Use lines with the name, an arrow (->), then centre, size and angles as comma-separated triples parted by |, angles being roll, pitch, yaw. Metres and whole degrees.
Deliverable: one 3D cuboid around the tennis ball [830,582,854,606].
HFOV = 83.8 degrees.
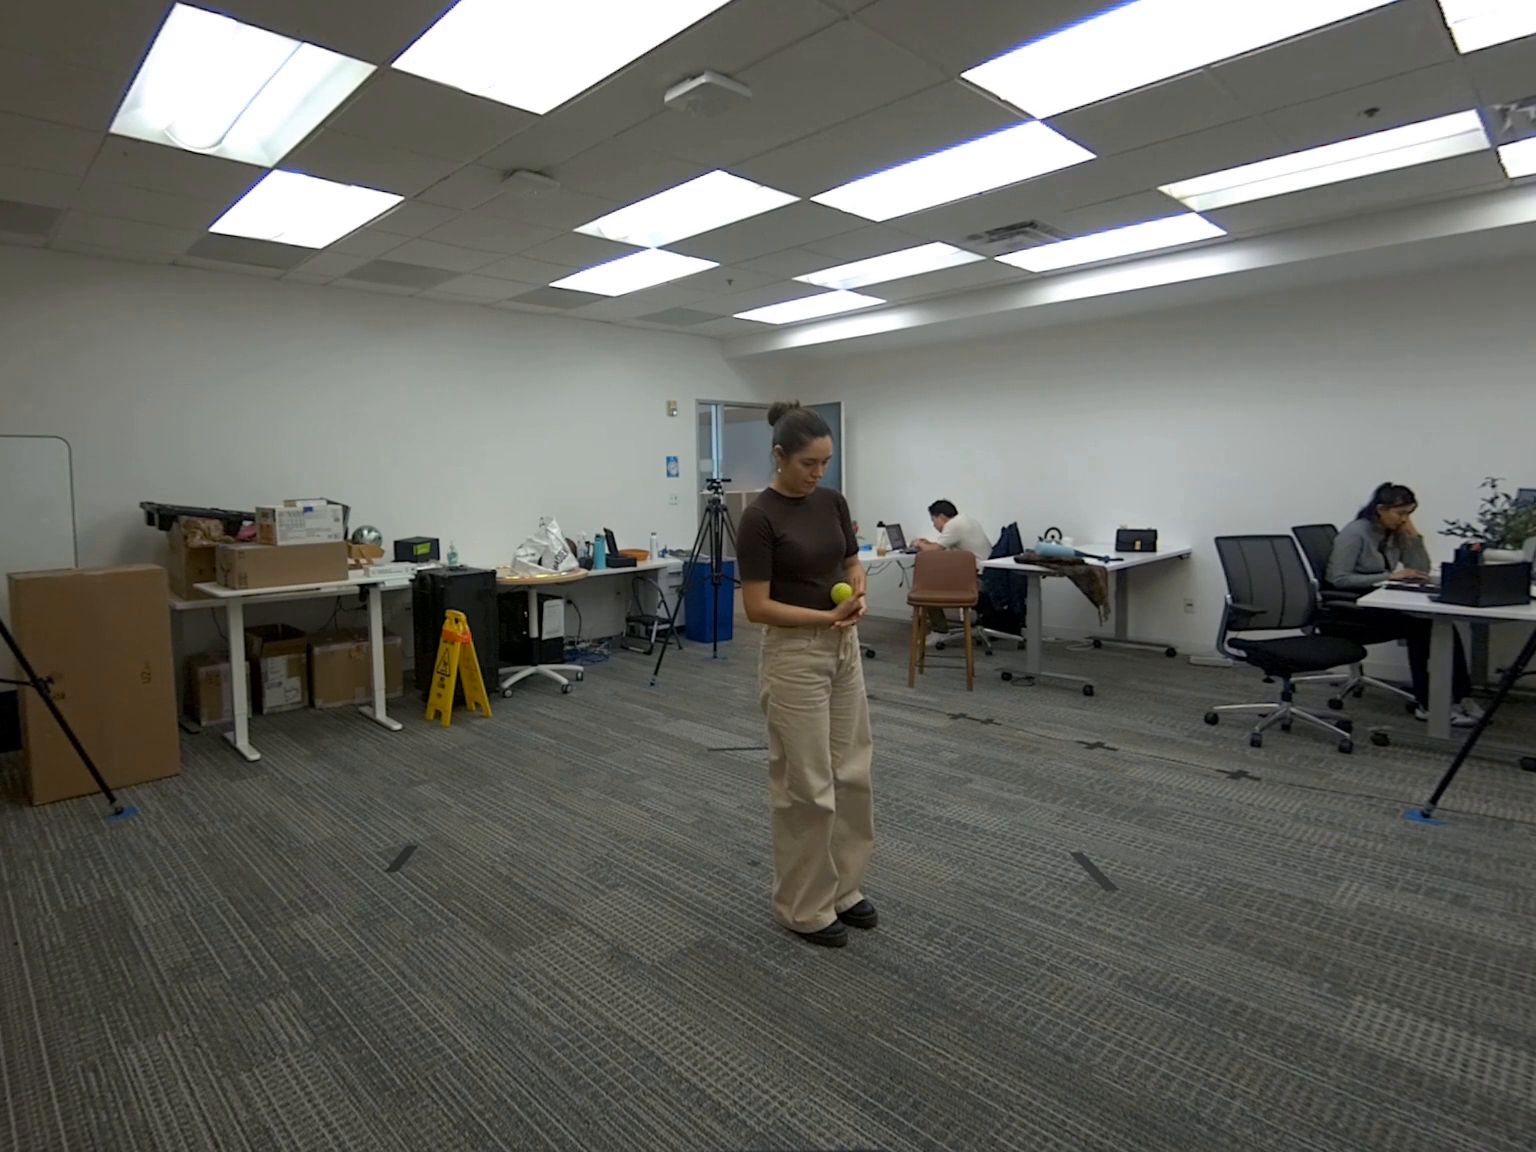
tennis ball -> 0.207, 0.049, 2.543 | 0.066, 0.066, 0.067 | -1, 5, -2
